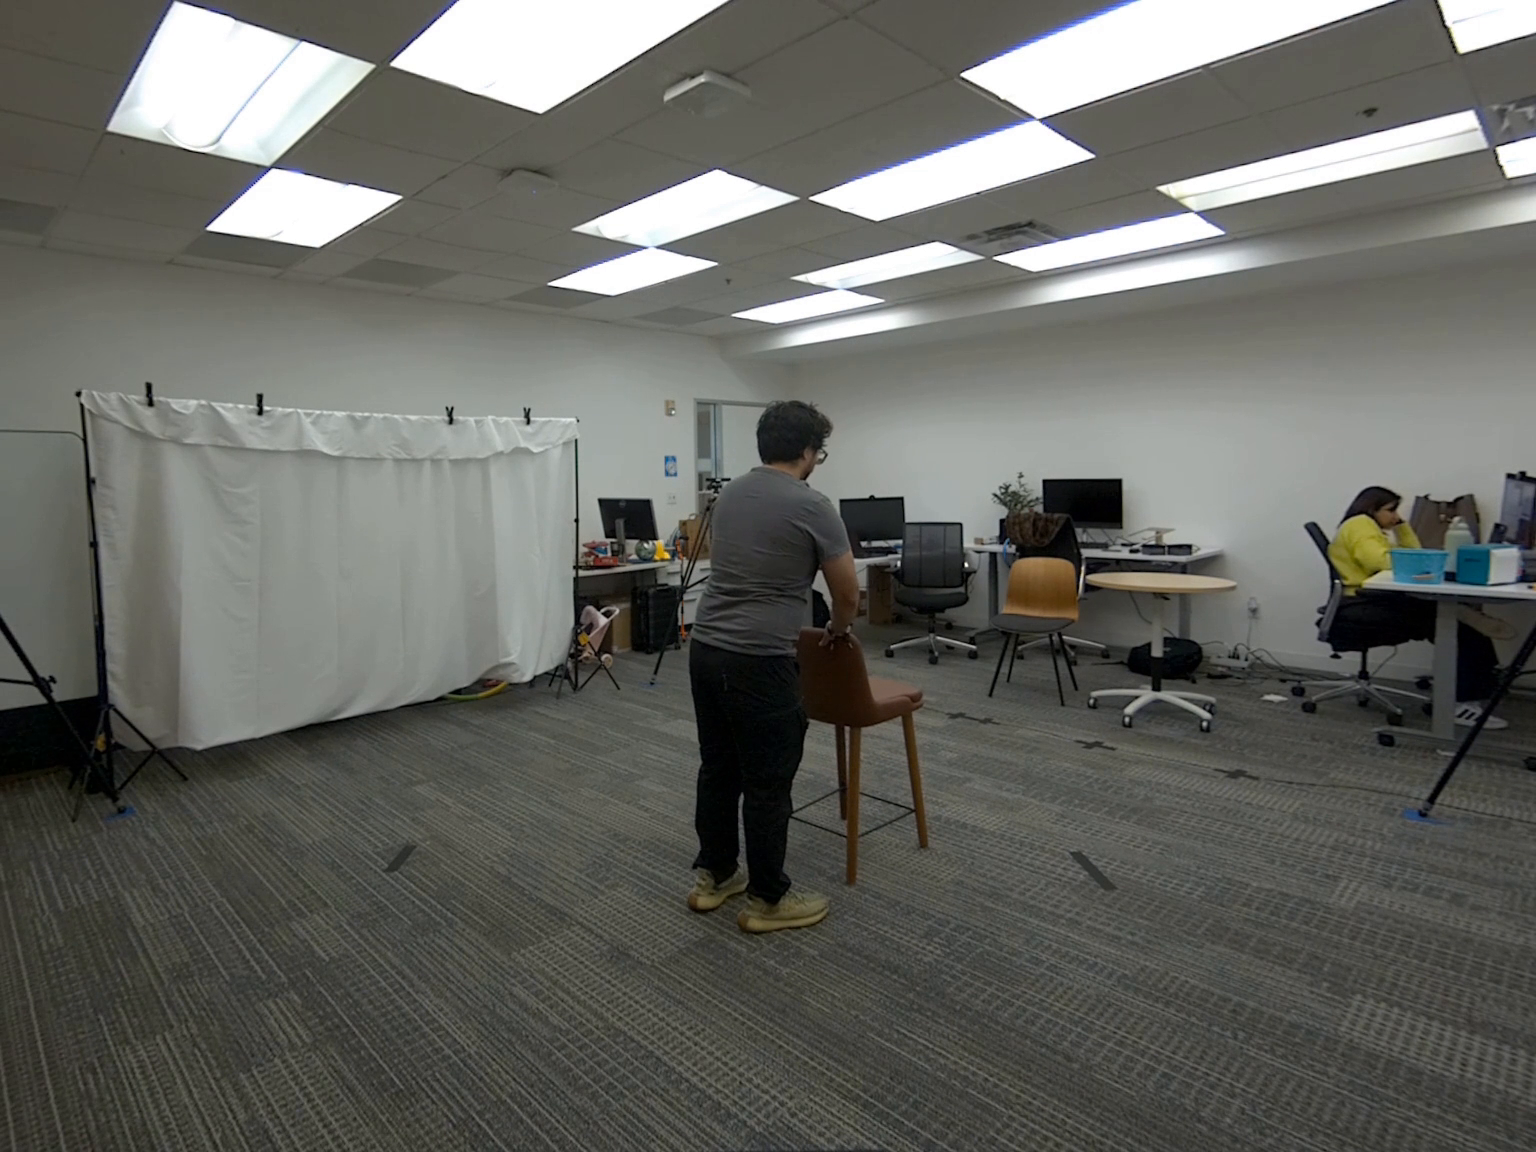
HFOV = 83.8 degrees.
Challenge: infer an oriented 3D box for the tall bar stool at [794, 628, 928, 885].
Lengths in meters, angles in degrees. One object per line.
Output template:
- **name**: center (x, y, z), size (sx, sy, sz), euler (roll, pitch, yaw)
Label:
- **tall bar stool**: center (0.291, 0.591, 3.174), size (0.456, 0.885, 0.470), euler (-7, 8, -44)
